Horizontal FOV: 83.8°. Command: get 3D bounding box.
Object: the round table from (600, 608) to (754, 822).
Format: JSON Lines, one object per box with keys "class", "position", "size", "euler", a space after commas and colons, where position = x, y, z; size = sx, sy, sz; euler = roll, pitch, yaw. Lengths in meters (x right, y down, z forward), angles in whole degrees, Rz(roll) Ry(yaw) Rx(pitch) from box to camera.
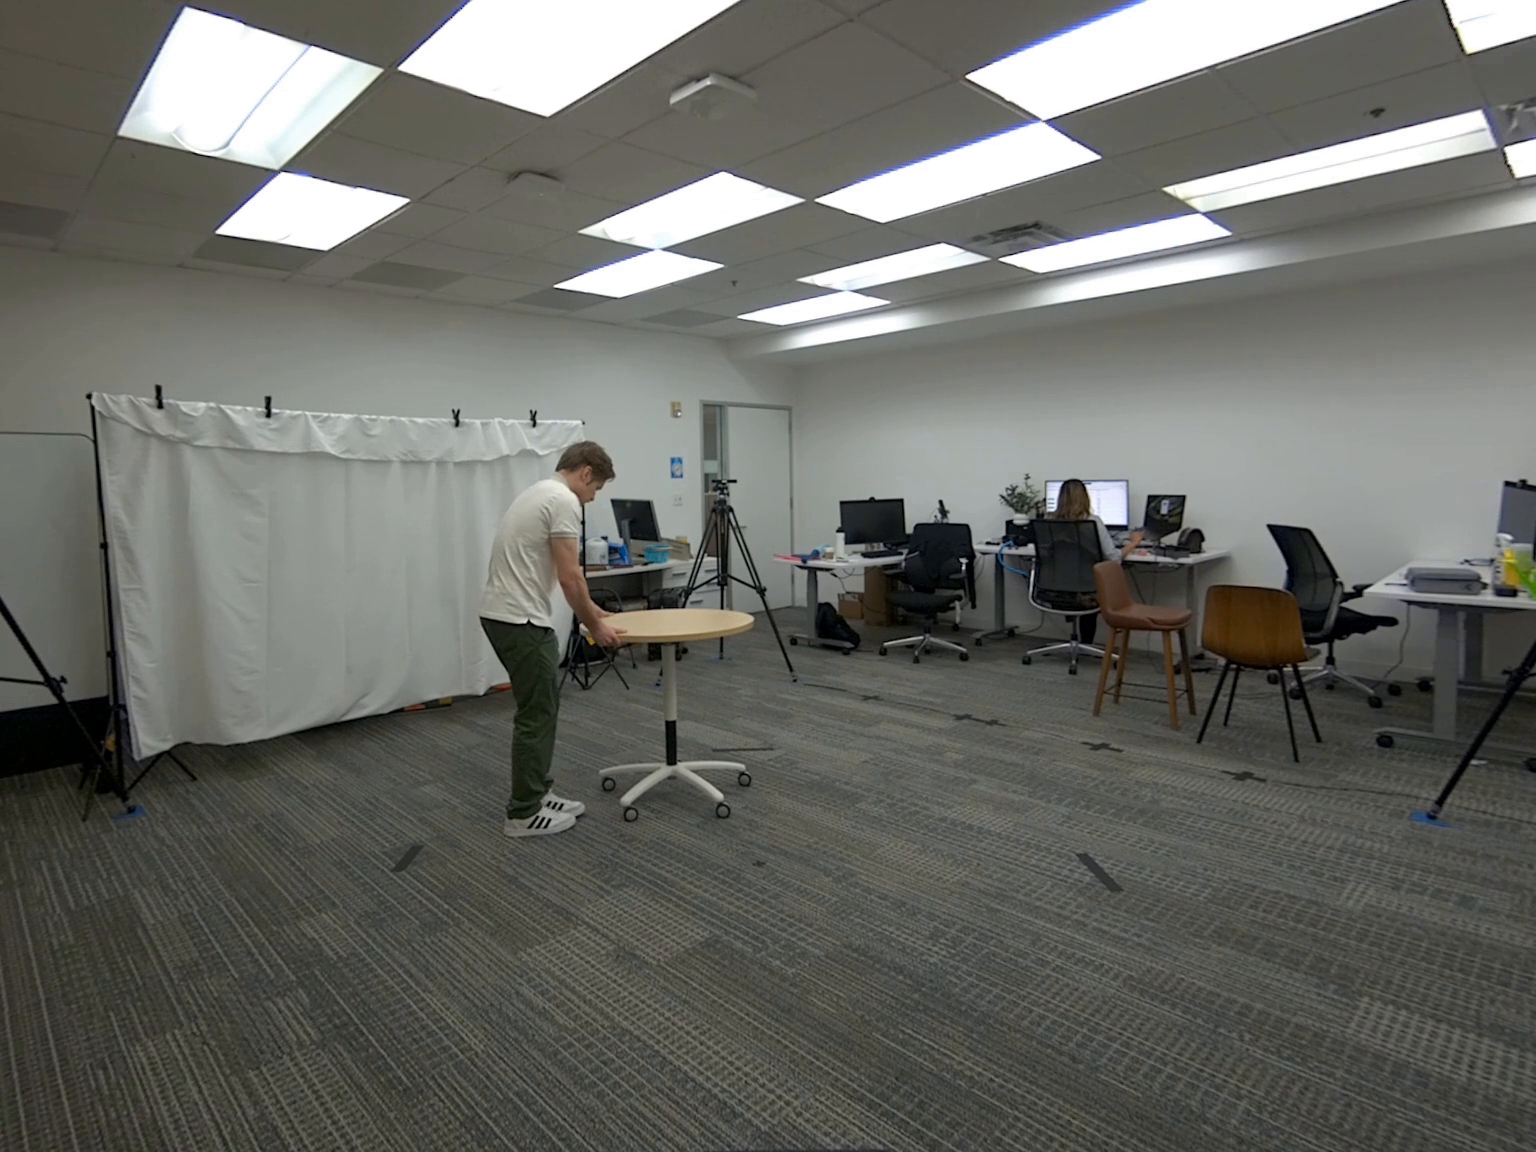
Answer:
{"class": "round table", "position": [-0.436, 0.587, 3.780], "size": [0.784, 0.784, 0.788], "euler": [-2, 4, -2]}
